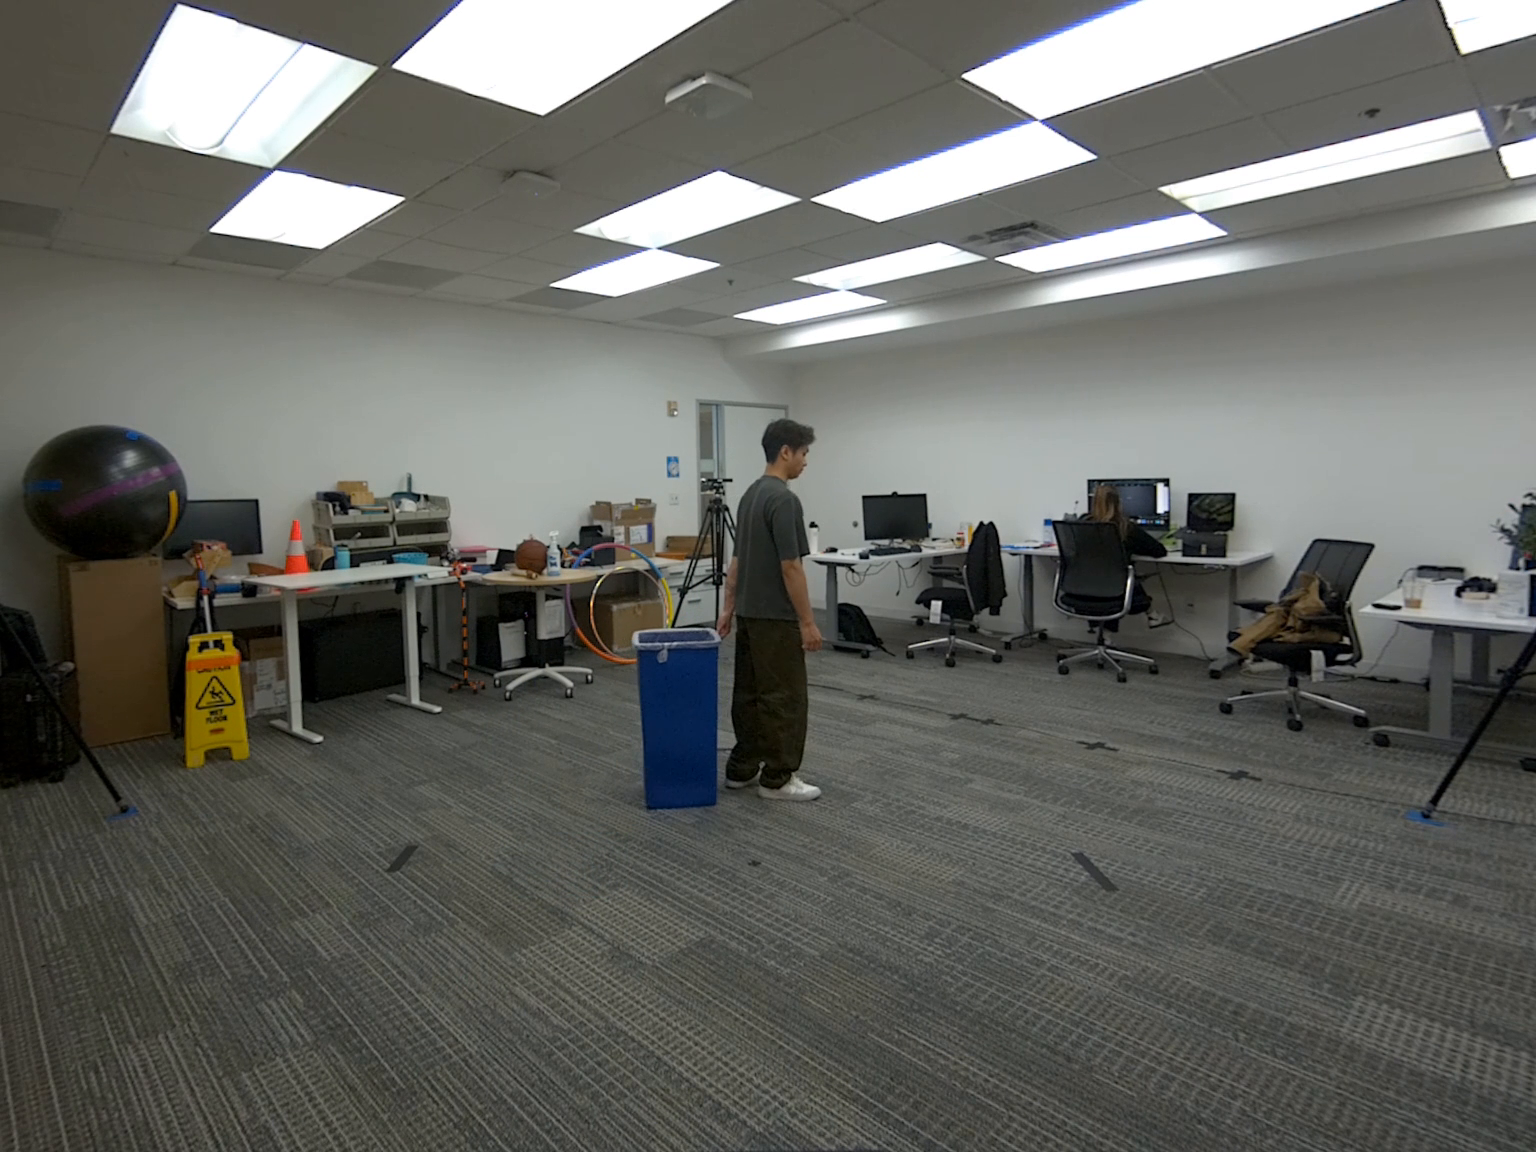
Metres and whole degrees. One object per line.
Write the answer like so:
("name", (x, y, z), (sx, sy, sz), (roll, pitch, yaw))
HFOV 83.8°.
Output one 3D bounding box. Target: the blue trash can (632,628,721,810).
("blue trash can", (-0.395, 0.617, 3.785), (0.376, 0.711, 0.378), (-1, 4, -7))
